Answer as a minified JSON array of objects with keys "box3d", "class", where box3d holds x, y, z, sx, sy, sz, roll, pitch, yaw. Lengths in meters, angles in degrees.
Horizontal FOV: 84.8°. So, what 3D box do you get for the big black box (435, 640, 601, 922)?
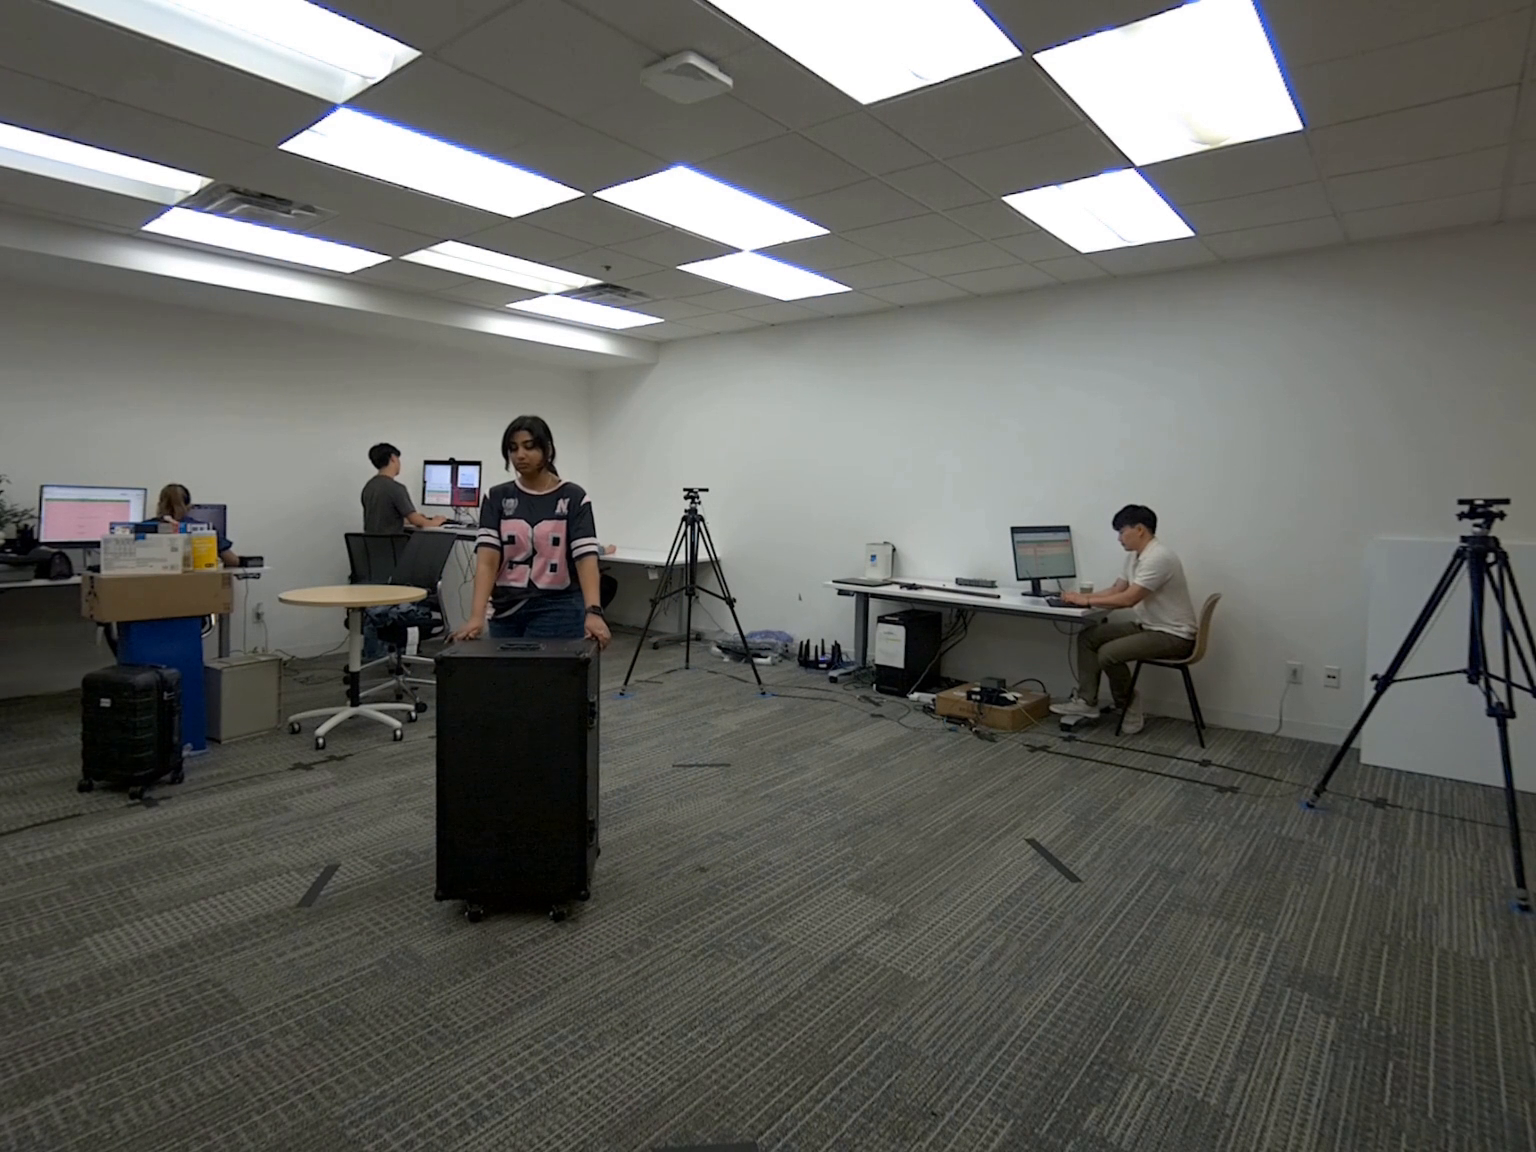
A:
[{"box3d":[-0.844,0.661,2.862,0.522,0.867,0.387,1,2,-3],"class":"big black box"}]
